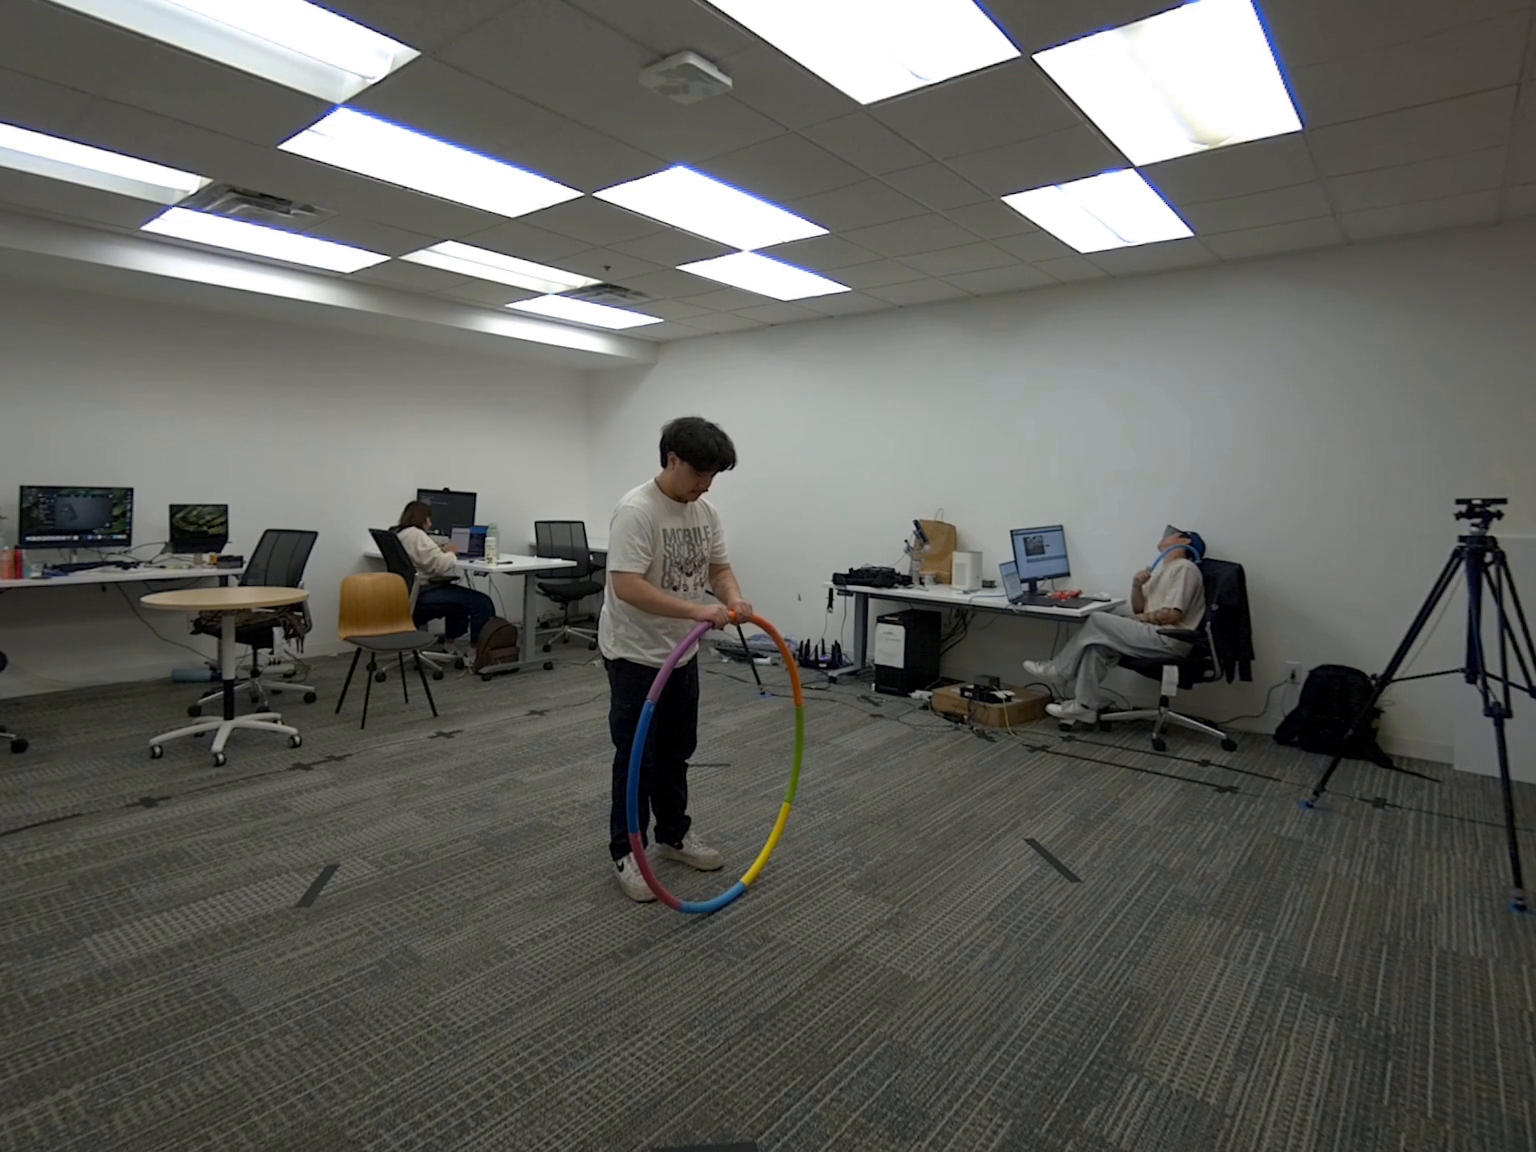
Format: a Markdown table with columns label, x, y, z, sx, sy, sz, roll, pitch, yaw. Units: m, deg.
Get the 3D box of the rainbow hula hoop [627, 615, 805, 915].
| label | x | y | z | sx | sy | sz | roll | pitch | yaw |
| --- | --- | --- | --- | --- | --- | --- | --- | --- | --- |
| rainbow hula hoop | -0.146 | 0.607 | 2.843 | 0.053 | 0.983 | 0.958 | 1 | 3 | 34 |
